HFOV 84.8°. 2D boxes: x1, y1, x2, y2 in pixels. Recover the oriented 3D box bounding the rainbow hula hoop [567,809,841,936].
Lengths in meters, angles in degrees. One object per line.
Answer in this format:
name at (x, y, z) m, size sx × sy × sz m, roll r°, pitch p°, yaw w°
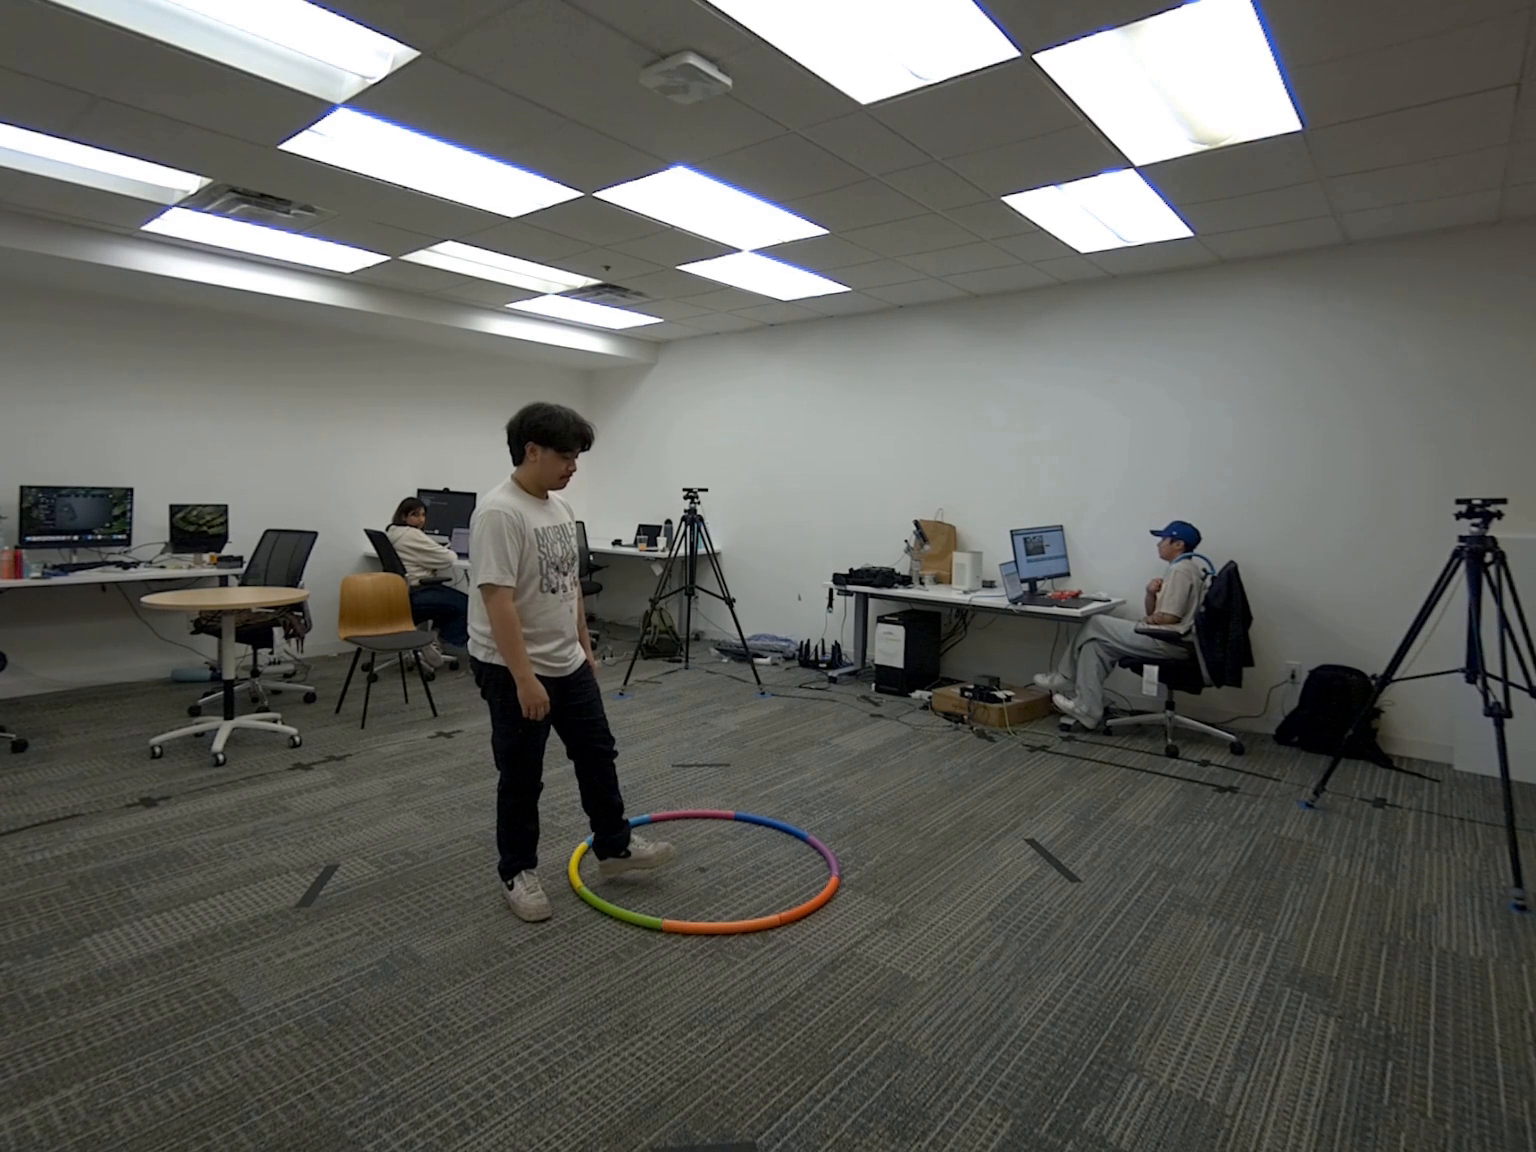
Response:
rainbow hula hoop at (-0.242, 1.044, 3.126) m, size 0.984 × 0.051 × 0.991 m, roll 1°, pitch 6°, yaw -2°
